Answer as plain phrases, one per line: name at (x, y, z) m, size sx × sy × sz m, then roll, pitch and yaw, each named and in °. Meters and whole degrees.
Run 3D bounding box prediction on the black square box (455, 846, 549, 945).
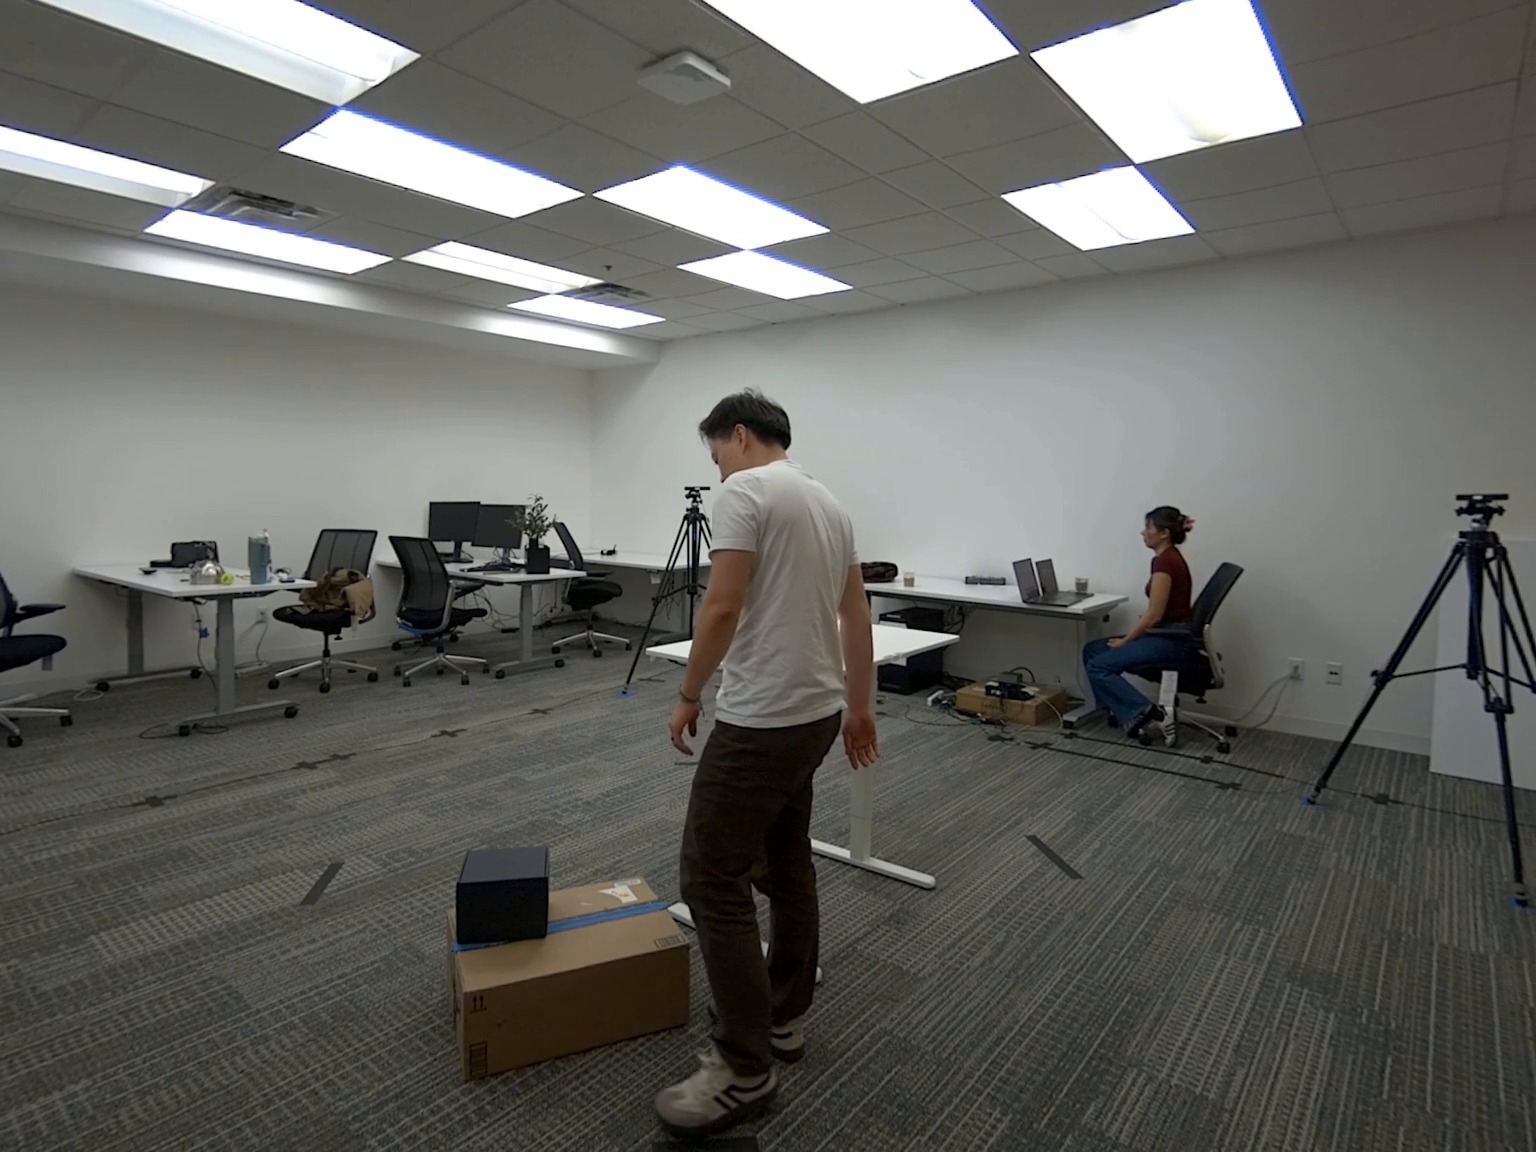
black square box at (-0.710, 0.841, 2.283) m, size 0.225 × 0.155 × 0.220 m, roll 0°, pitch 4°, yaw -11°
